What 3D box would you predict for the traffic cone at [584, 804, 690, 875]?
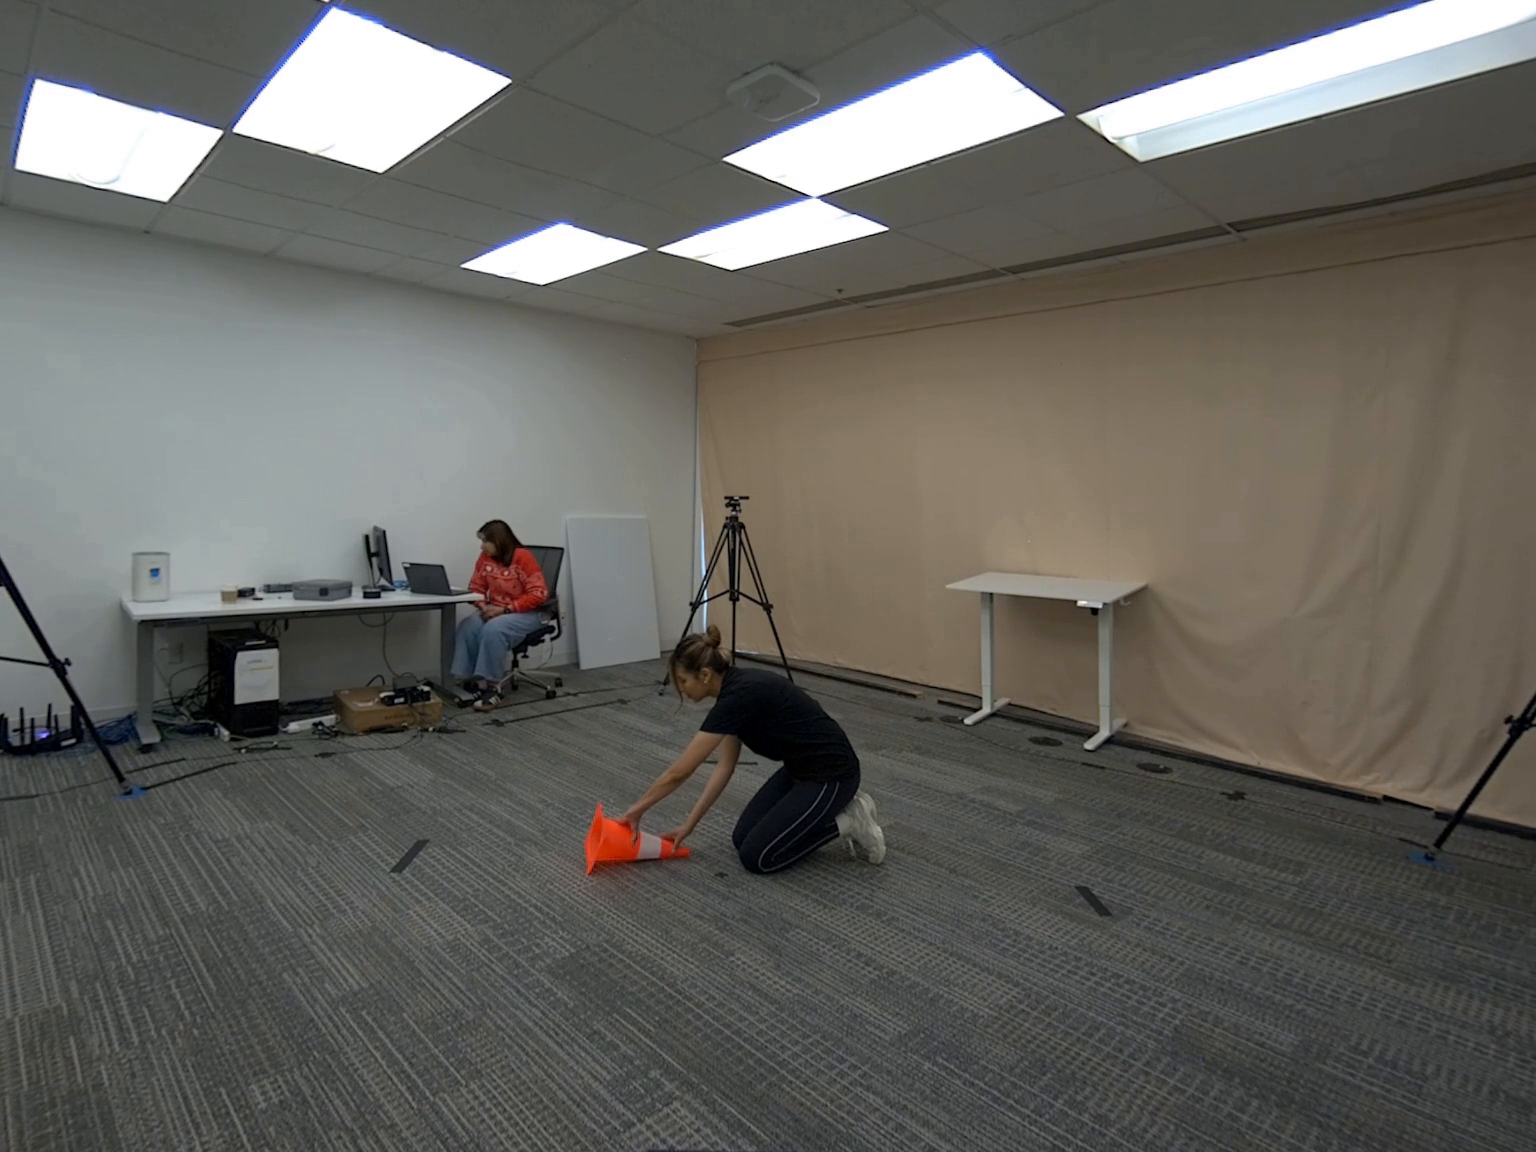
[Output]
[{"bbox_3d":[-0.486,1.027,3.202,0.377,0.202,0.210,15,11,-20],"label":"traffic cone"}]
